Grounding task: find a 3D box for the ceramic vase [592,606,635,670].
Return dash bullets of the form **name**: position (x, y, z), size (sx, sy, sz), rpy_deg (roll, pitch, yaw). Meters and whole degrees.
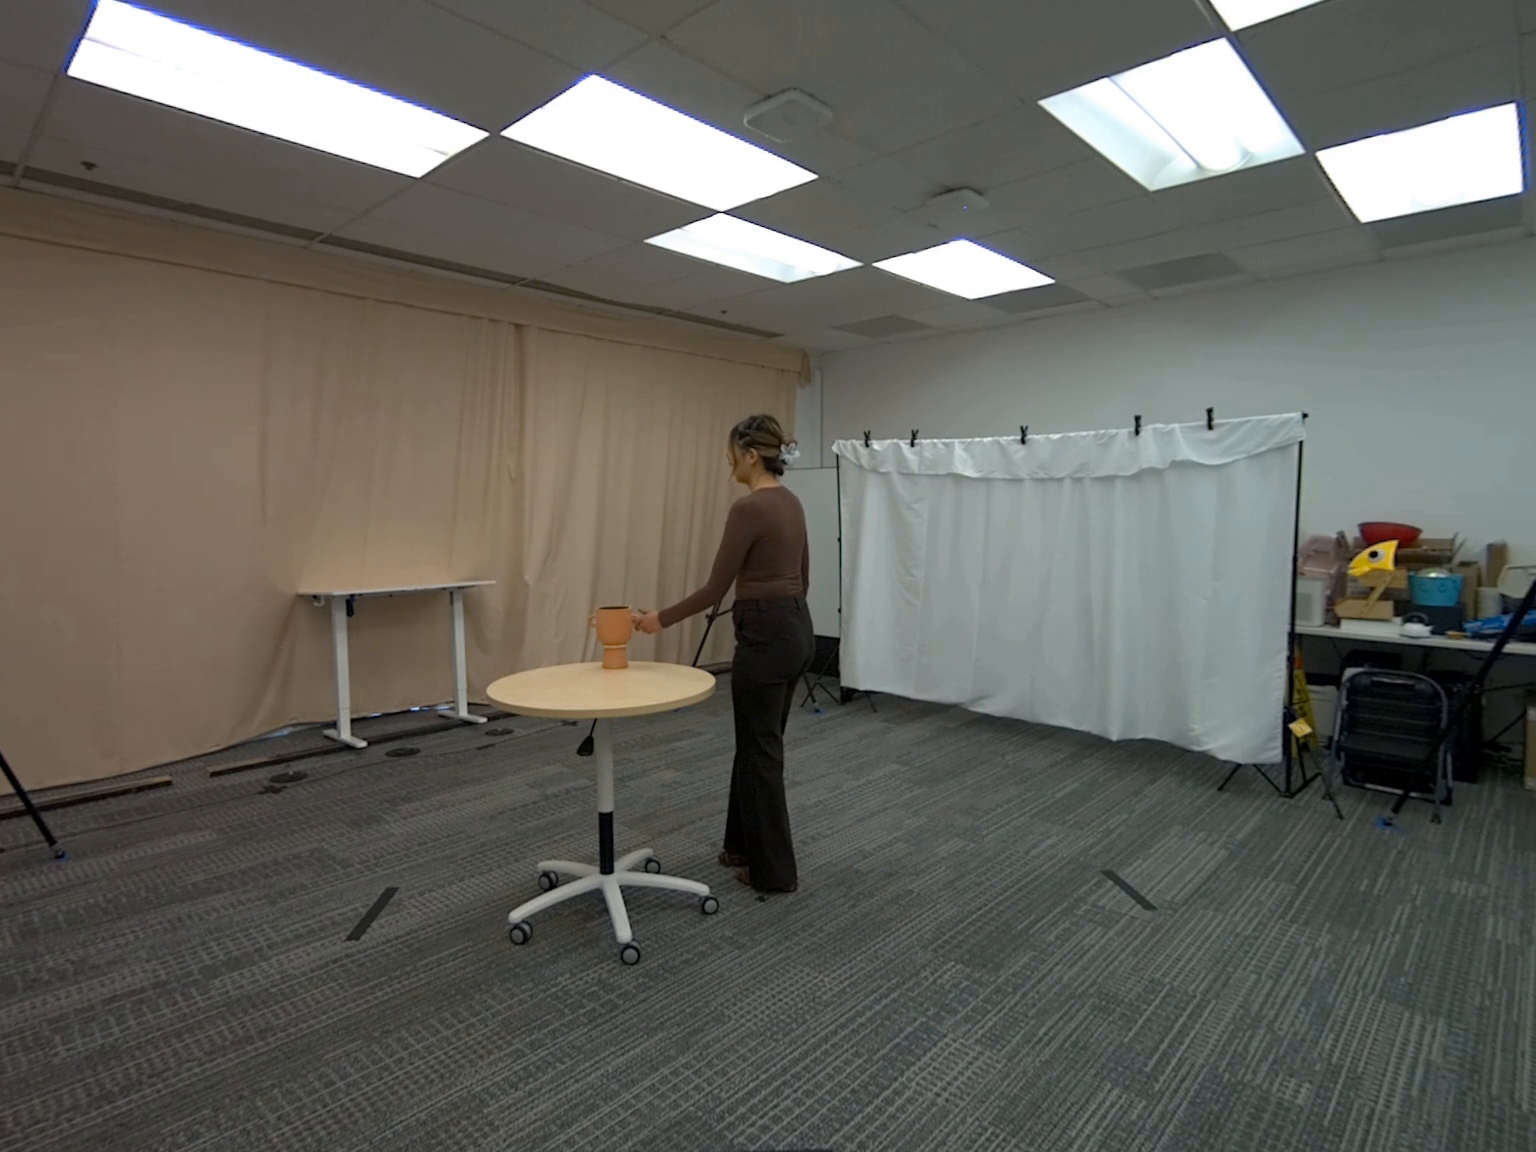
- **ceramic vase**: position (-0.570, 0.229, 3.126), size (0.164, 0.219, 0.130), rpy_deg (2, 4, 40)
